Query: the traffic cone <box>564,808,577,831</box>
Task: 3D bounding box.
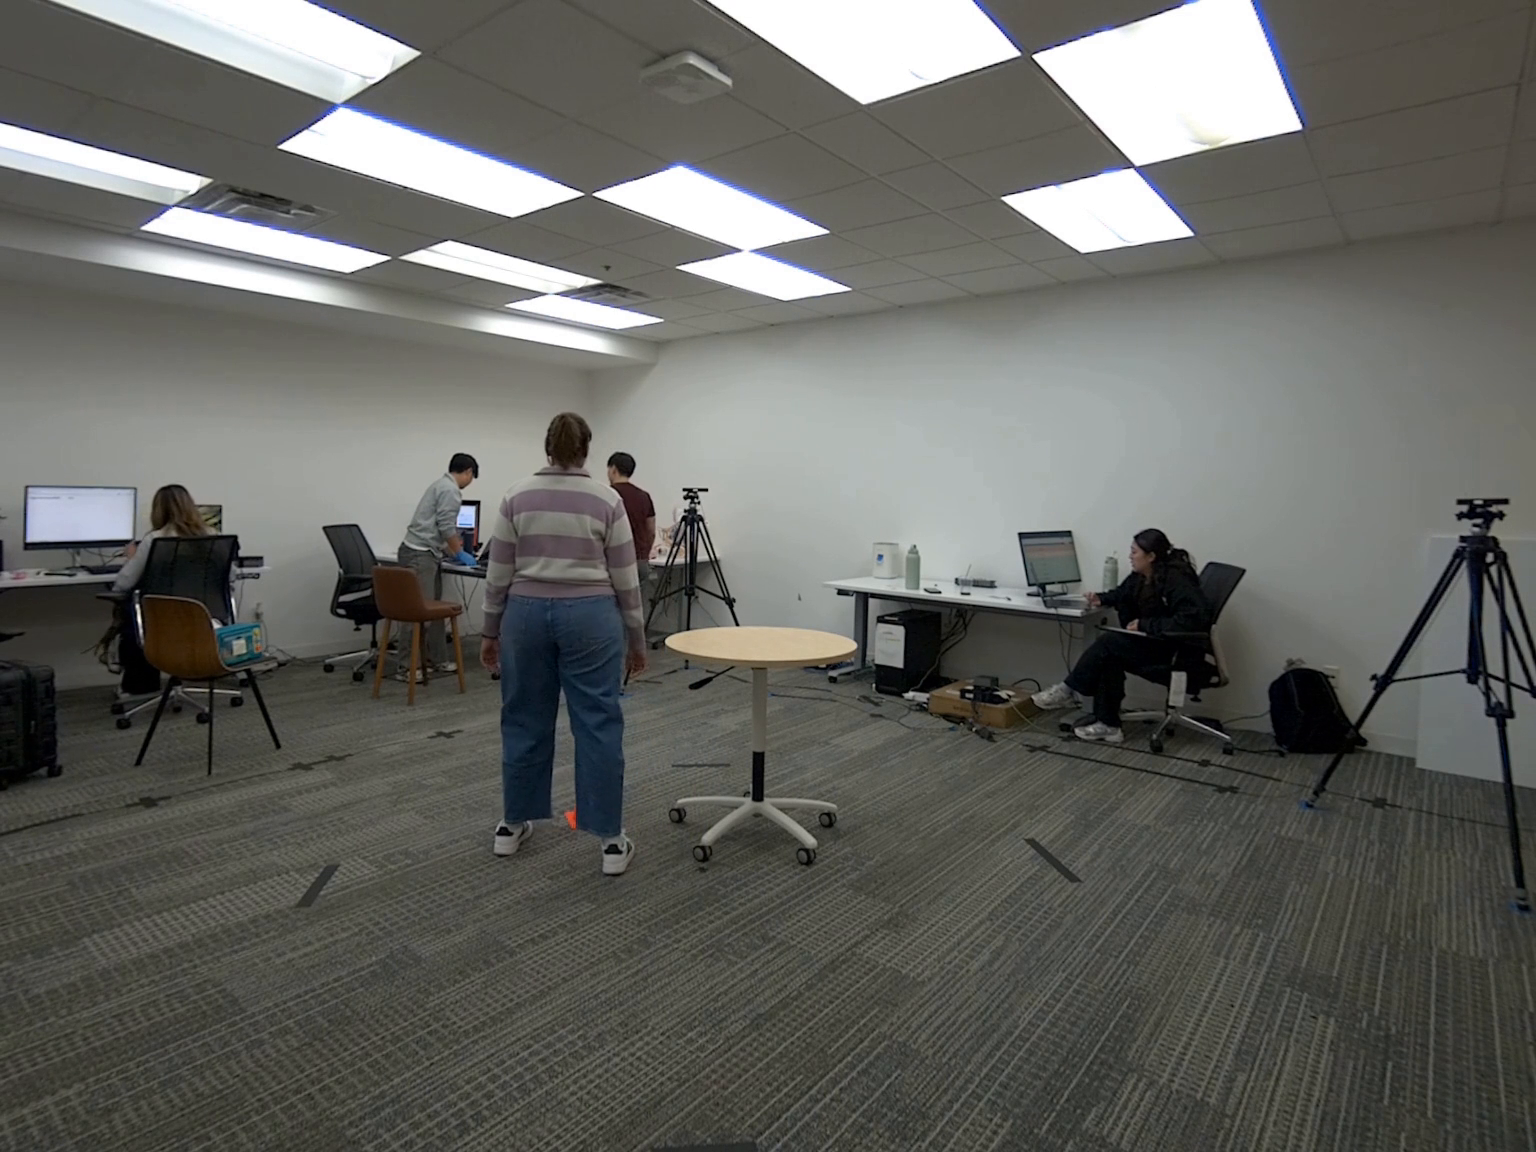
[{"bbox_3d":[-0.741,0.826,3.566,0.199,0.383,0.210,2,3,-23],"label":"traffic cone"}]
